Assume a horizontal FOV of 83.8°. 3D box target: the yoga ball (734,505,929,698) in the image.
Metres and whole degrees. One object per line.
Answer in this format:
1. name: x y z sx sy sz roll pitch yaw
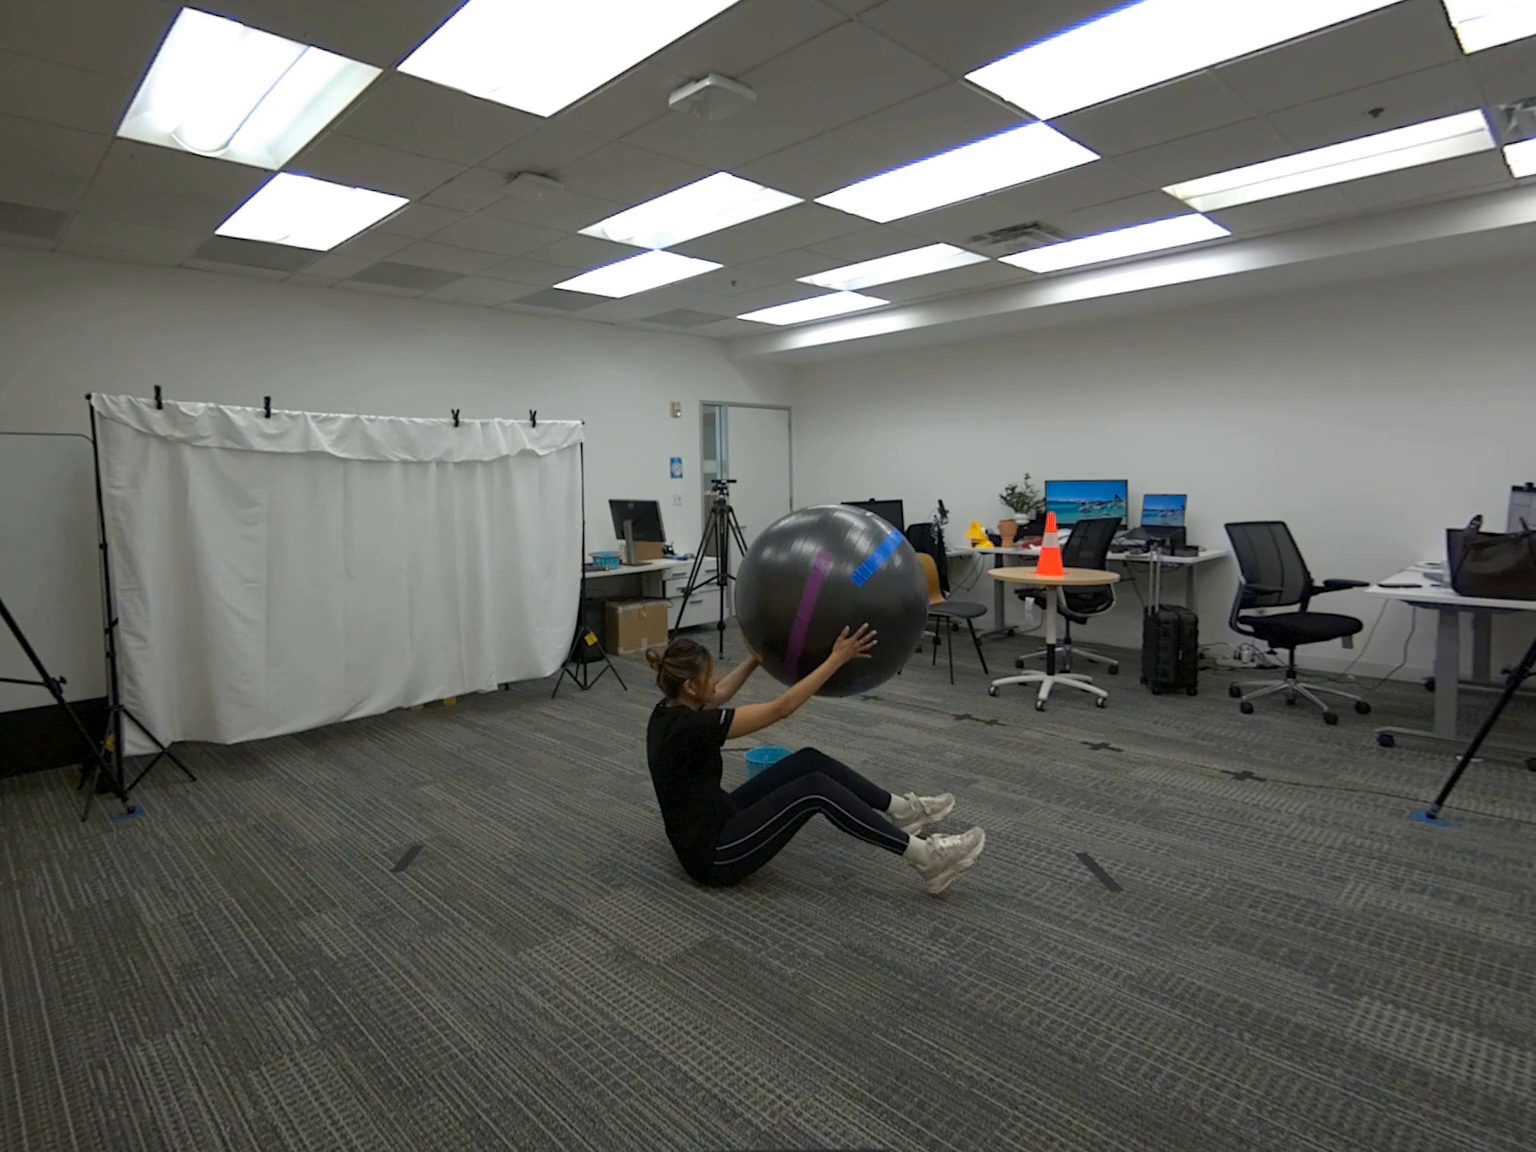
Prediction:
1. yoga ball: 0.245 0.109 3.373 0.757 0.755 0.762 -1 5 -2
